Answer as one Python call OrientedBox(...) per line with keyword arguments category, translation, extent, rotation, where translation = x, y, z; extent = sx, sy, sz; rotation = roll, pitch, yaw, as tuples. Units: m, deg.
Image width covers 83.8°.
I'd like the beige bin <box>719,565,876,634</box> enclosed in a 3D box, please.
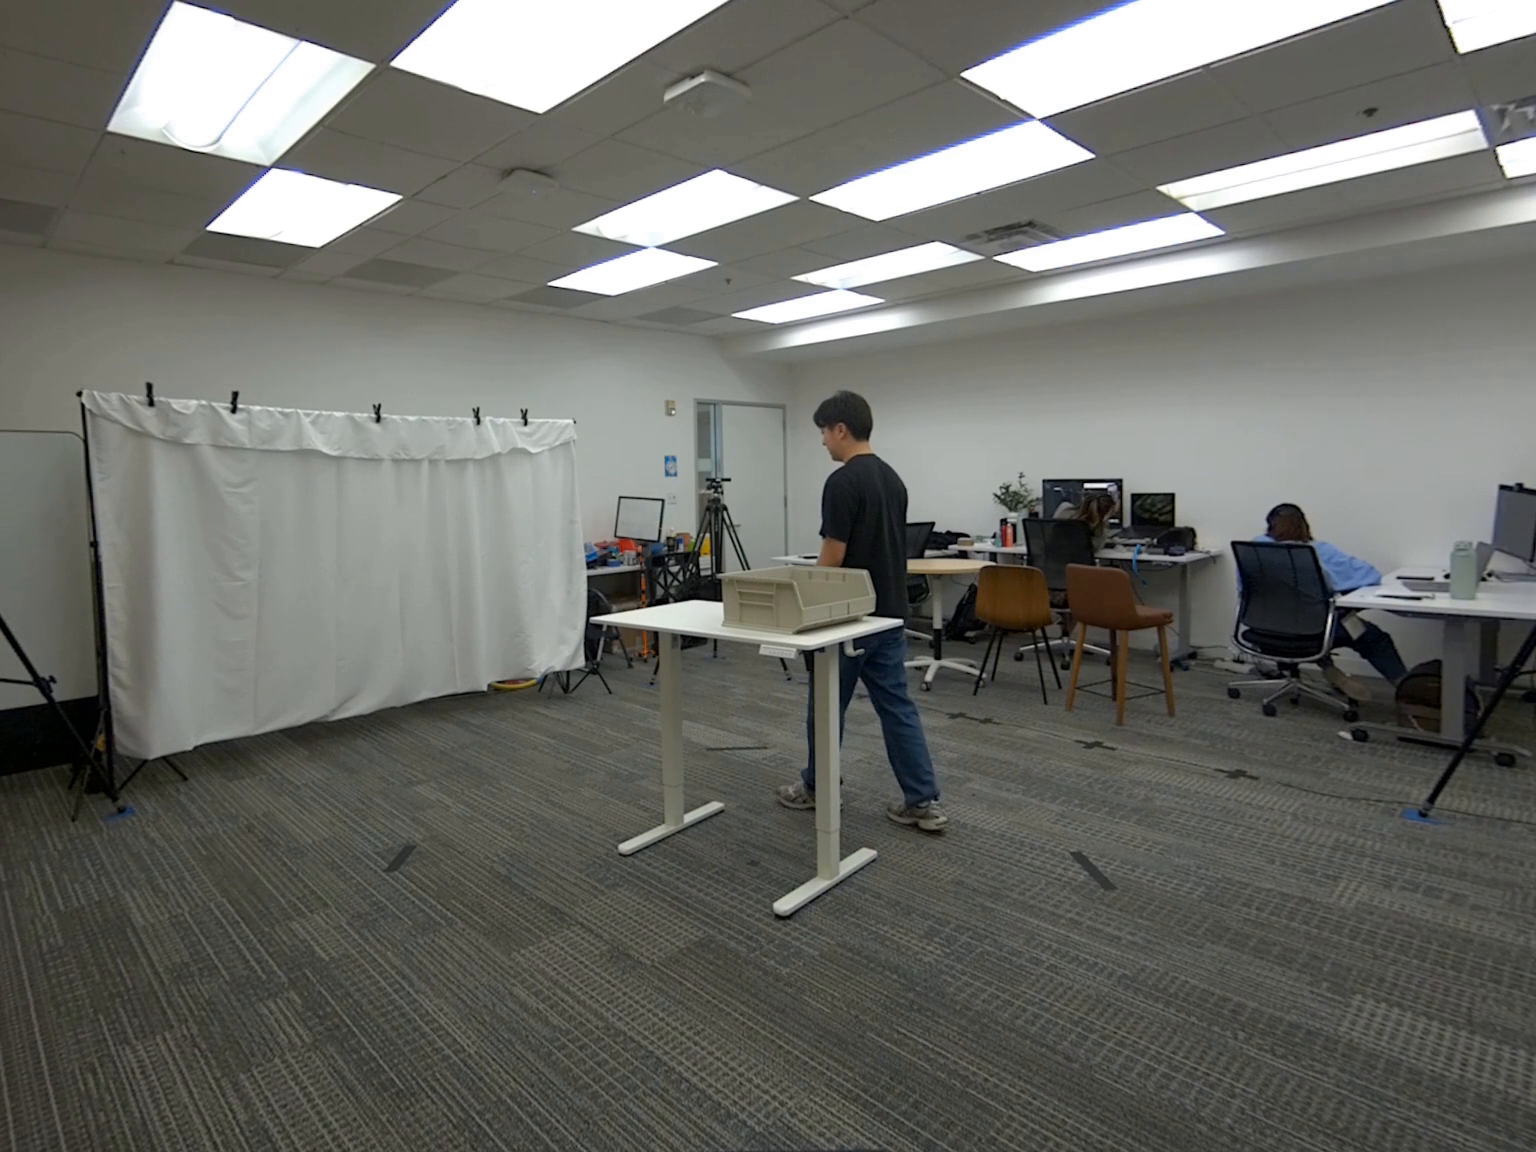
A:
OrientedBox(category="beige bin", translation=(0.101, 0.081, 2.993), extent=(0.389, 0.188, 0.411), rotation=(2, 7, 42))
